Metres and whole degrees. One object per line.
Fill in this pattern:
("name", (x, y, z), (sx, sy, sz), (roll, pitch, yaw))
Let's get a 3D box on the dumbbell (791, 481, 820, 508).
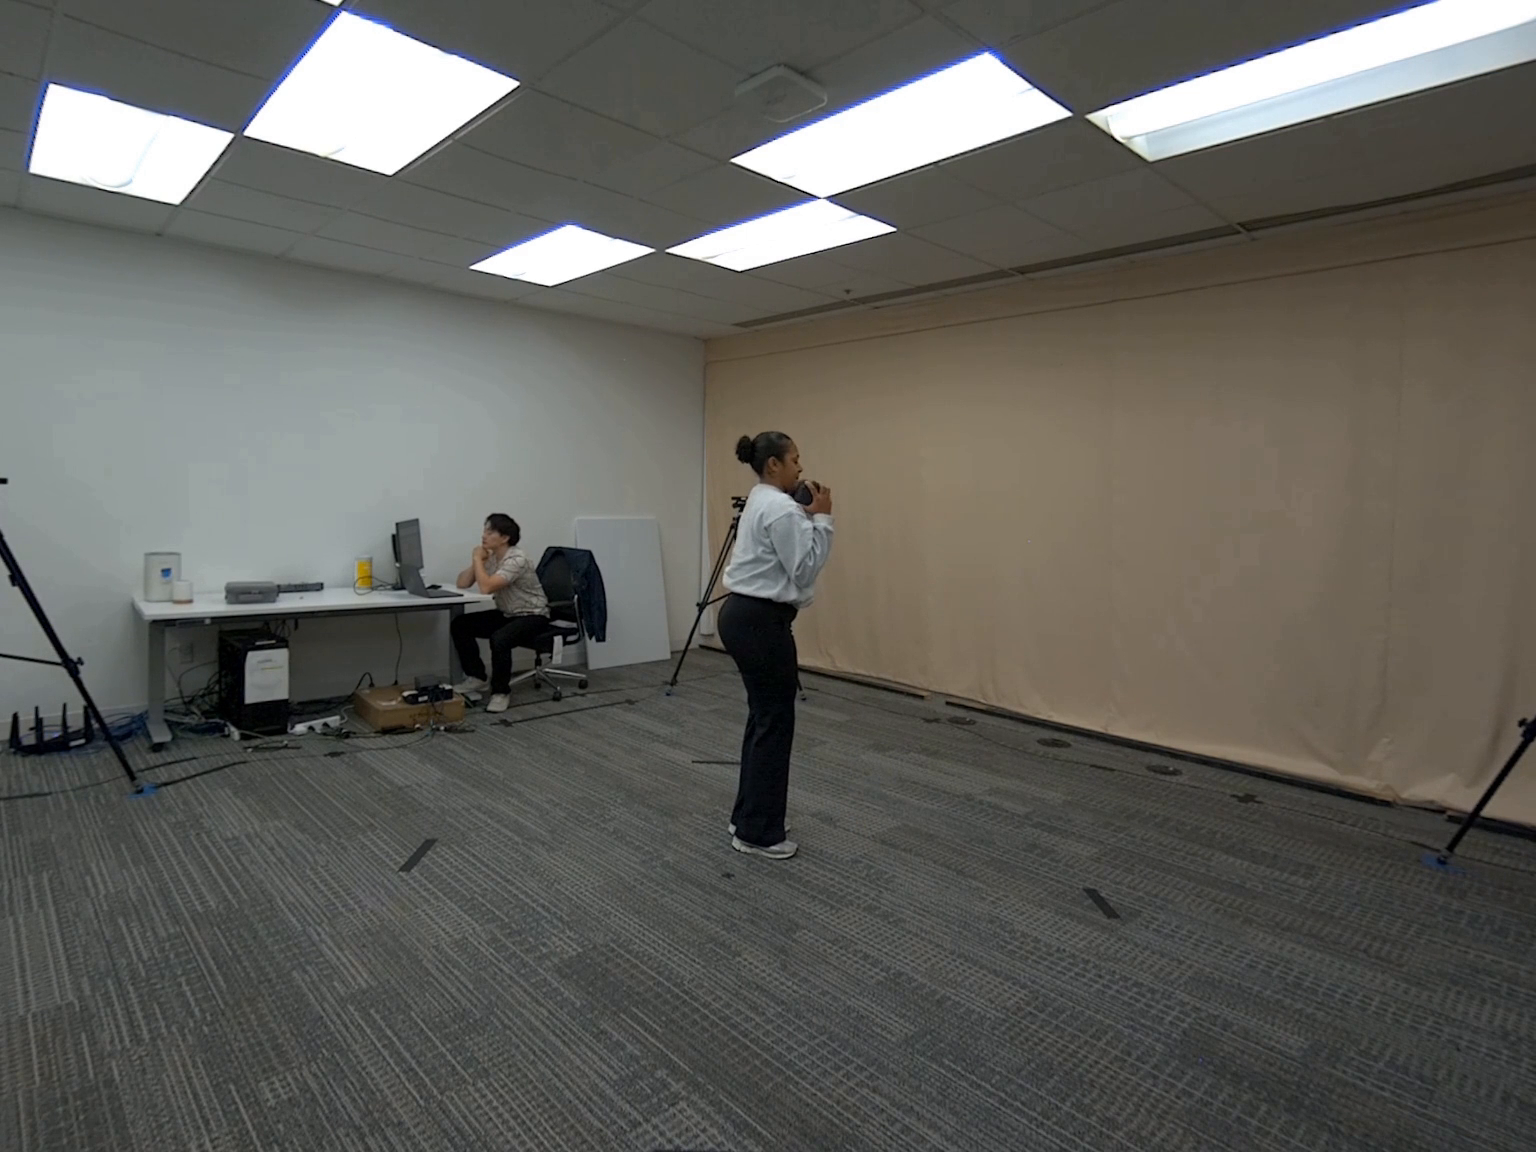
("dumbbell", (0.151, -0.321, 3.377), (0.122, 0.108, 0.296), (37, 7, -10))
